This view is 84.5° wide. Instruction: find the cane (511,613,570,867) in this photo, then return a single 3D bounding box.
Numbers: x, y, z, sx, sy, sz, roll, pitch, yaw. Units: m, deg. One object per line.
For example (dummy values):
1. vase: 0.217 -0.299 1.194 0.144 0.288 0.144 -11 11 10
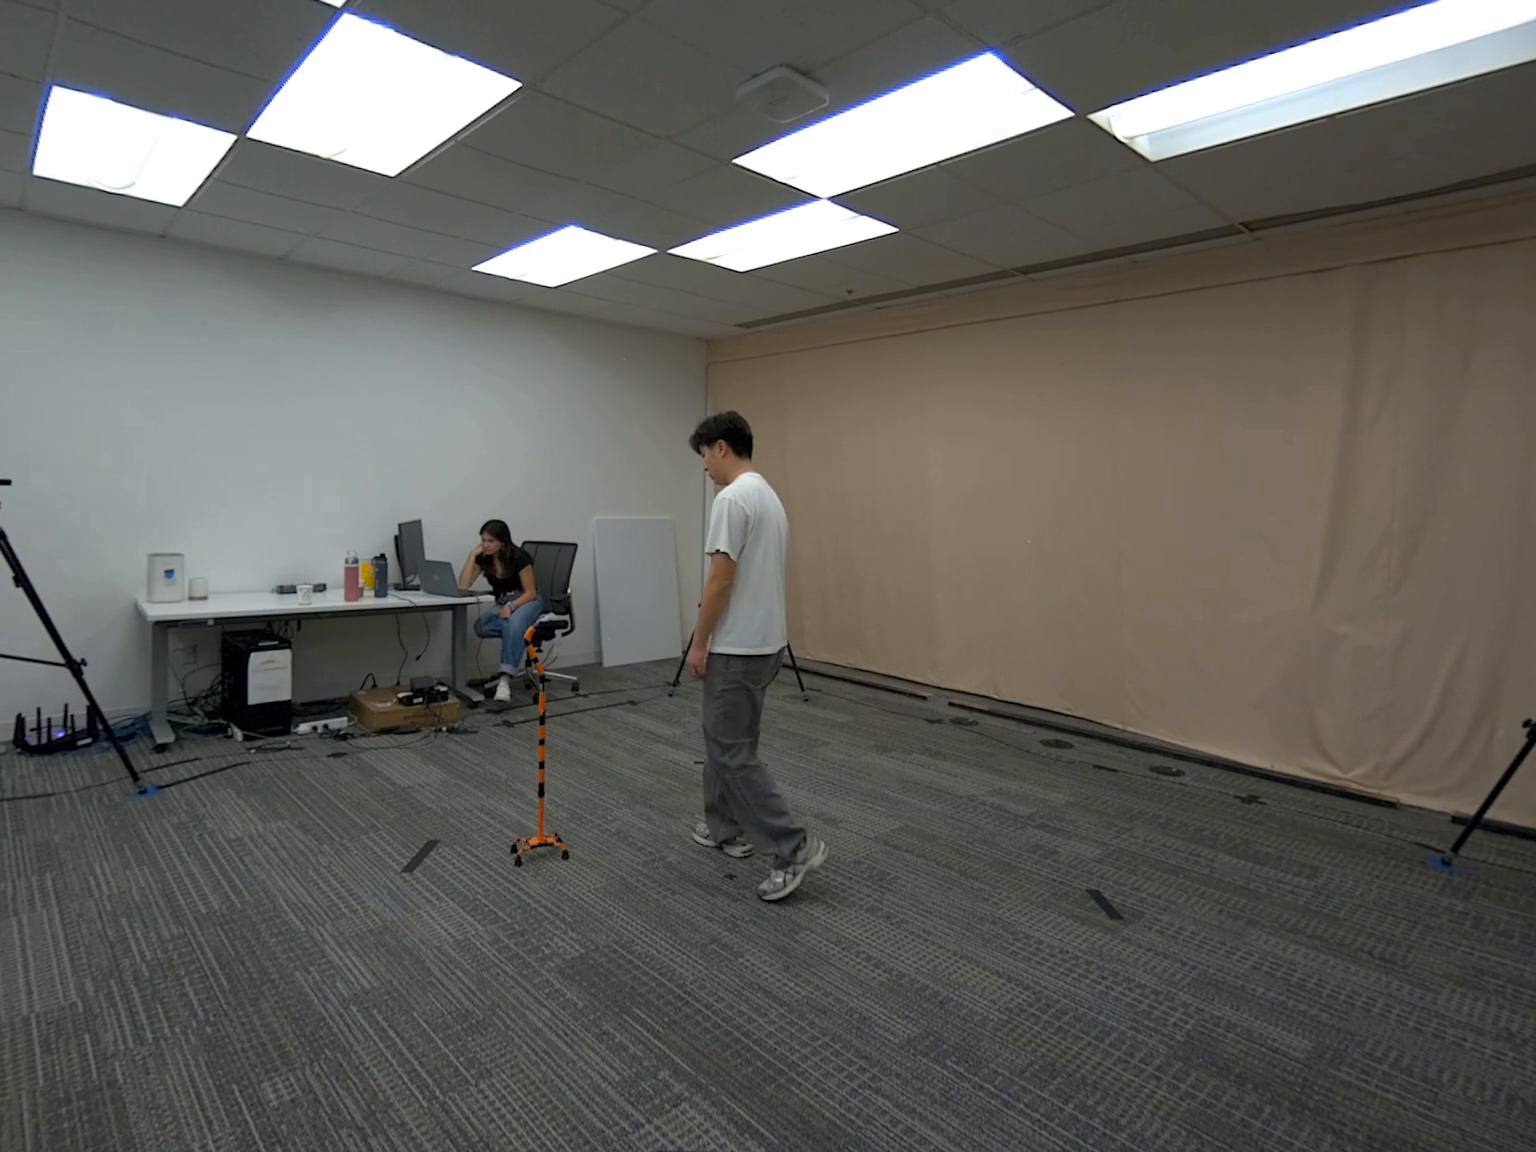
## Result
1. cane: -0.880 0.627 3.225 0.203 0.906 0.154 -1 3 -25
